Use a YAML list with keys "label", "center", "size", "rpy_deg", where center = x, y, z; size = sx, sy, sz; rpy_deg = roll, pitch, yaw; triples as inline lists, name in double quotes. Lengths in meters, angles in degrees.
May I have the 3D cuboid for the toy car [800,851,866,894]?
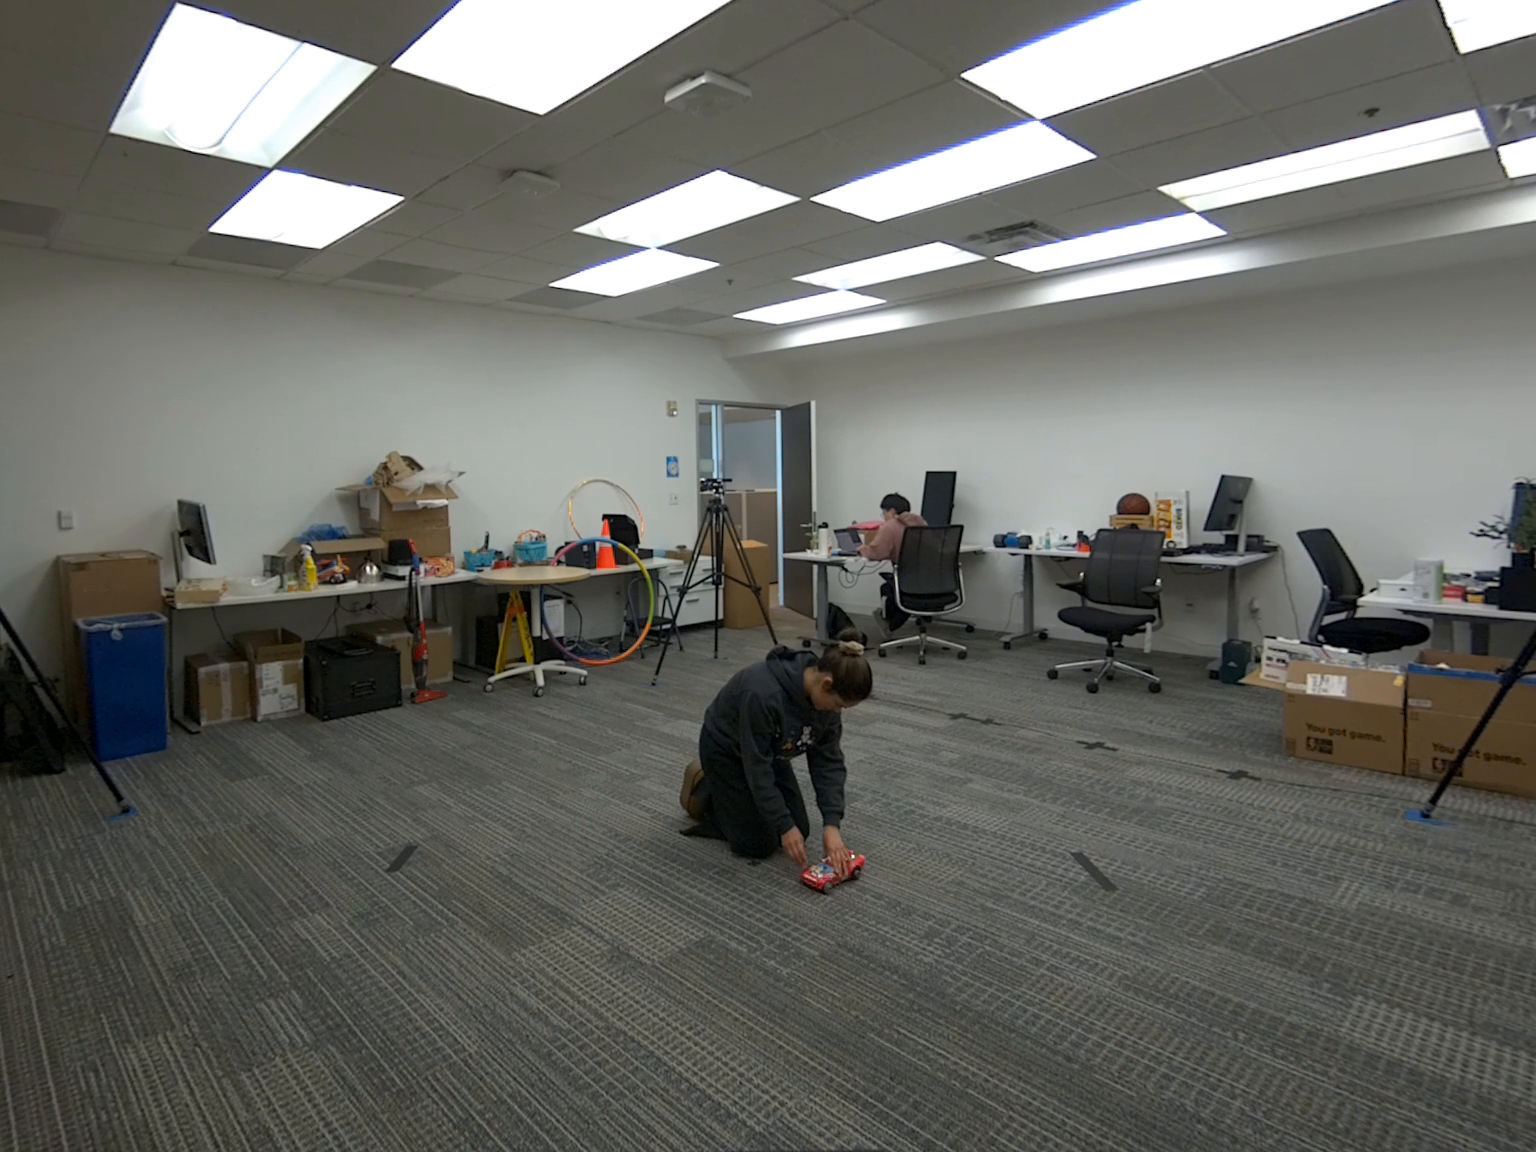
- label: "toy car"
  center: [0.233, 1.023, 2.958]
  size: [0.250, 0.082, 0.134]
  rpy_deg: [-20, 16, -37]
